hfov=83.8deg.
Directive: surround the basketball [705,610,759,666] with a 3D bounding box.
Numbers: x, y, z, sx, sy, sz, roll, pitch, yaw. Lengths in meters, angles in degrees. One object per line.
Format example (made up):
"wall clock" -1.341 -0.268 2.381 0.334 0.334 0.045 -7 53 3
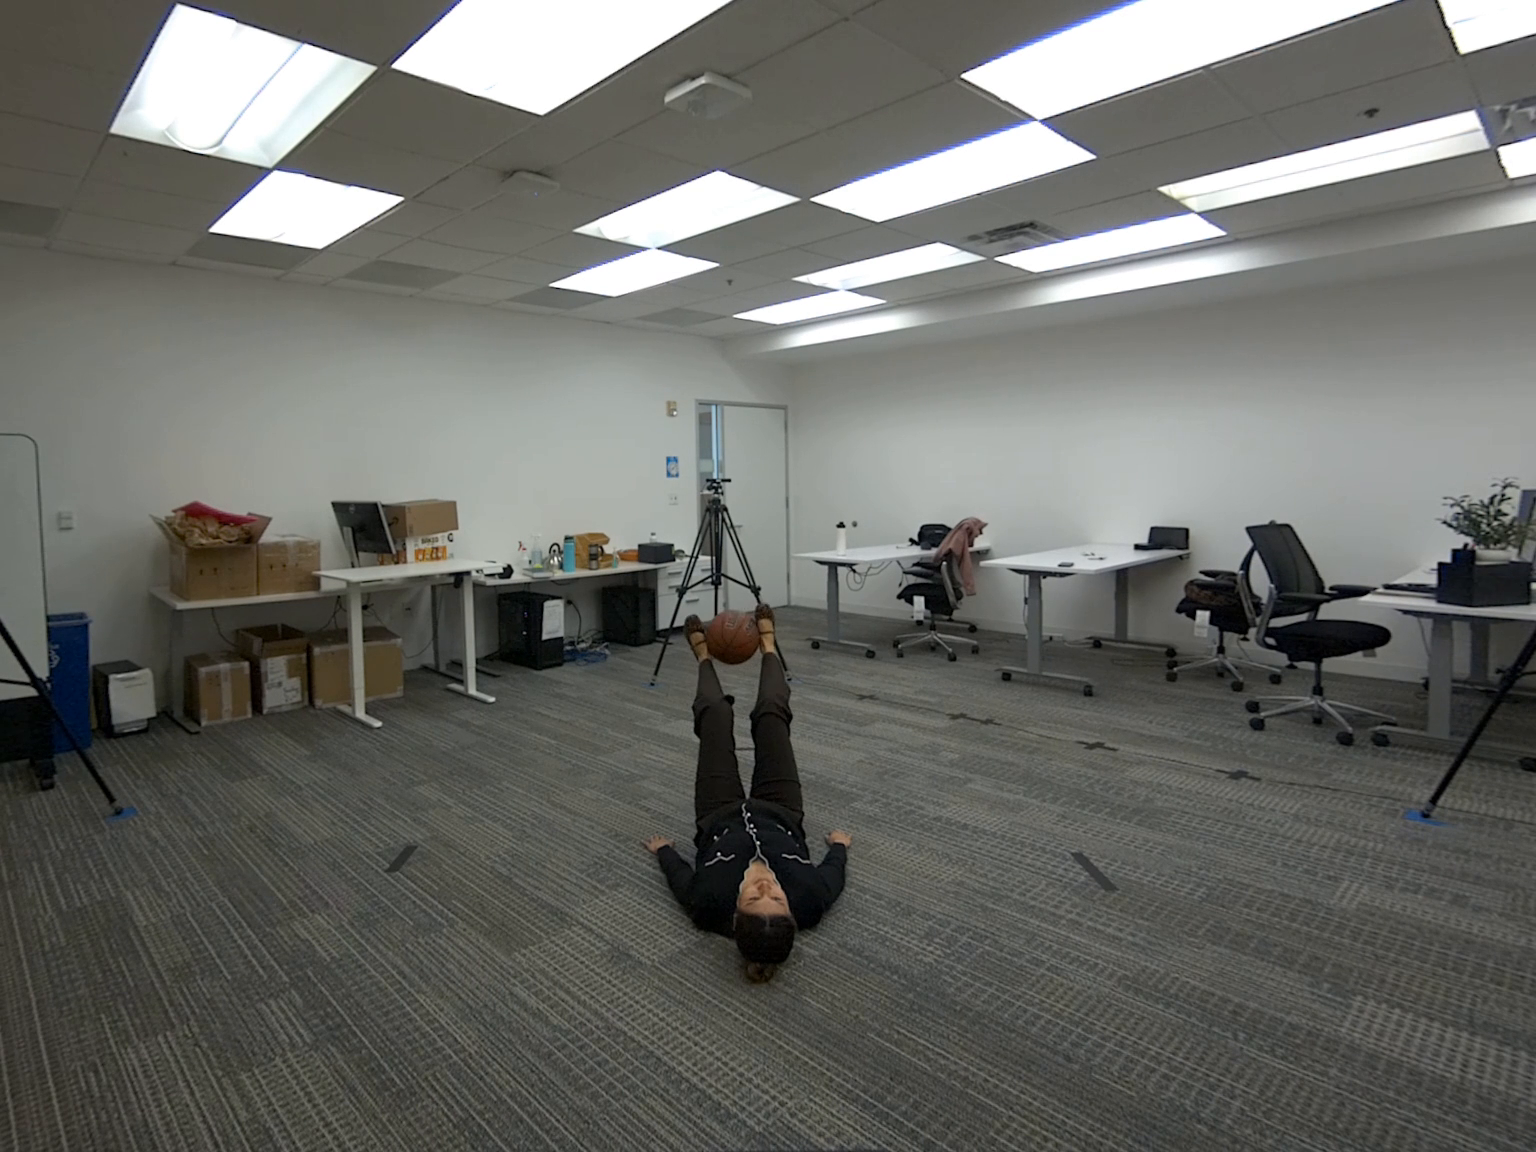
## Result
"basketball" -0.140 0.269 3.700 0.236 0.235 0.237 -4 4 -1
